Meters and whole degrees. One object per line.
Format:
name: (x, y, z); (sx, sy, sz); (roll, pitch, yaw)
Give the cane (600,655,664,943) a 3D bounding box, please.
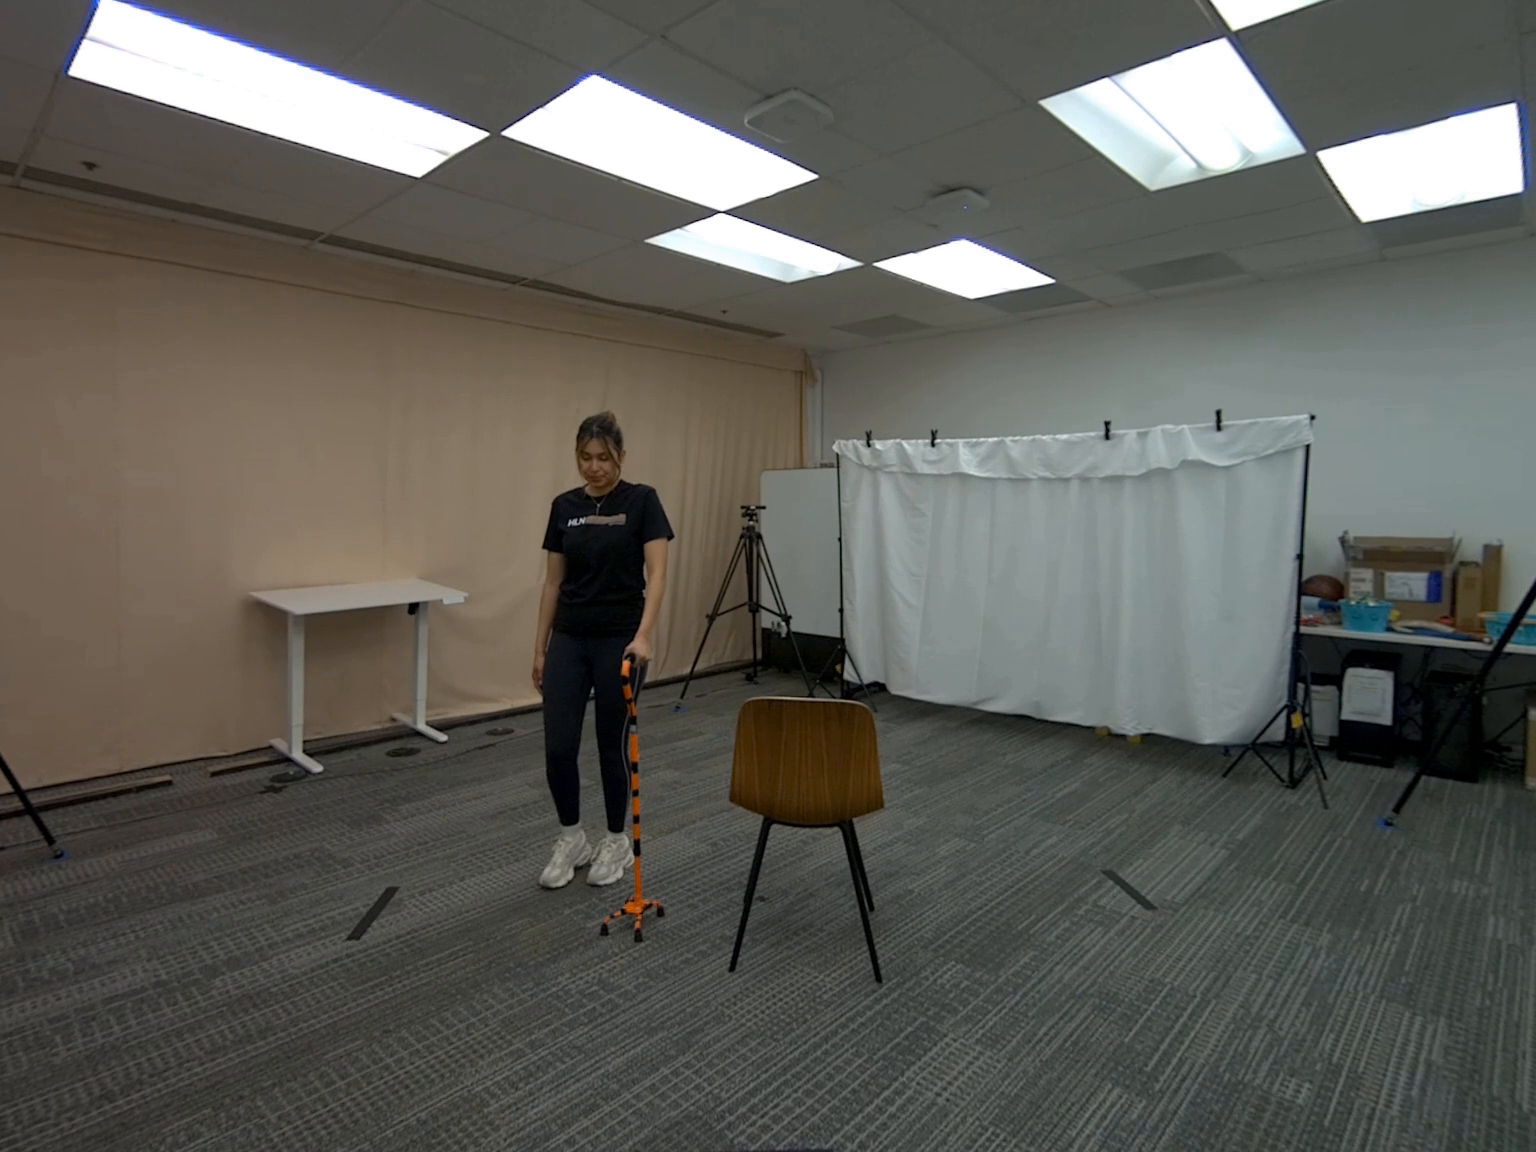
cane: (-0.455, 0.710, 2.782); (0.154, 0.906, 0.203); (0, 3, 18)
